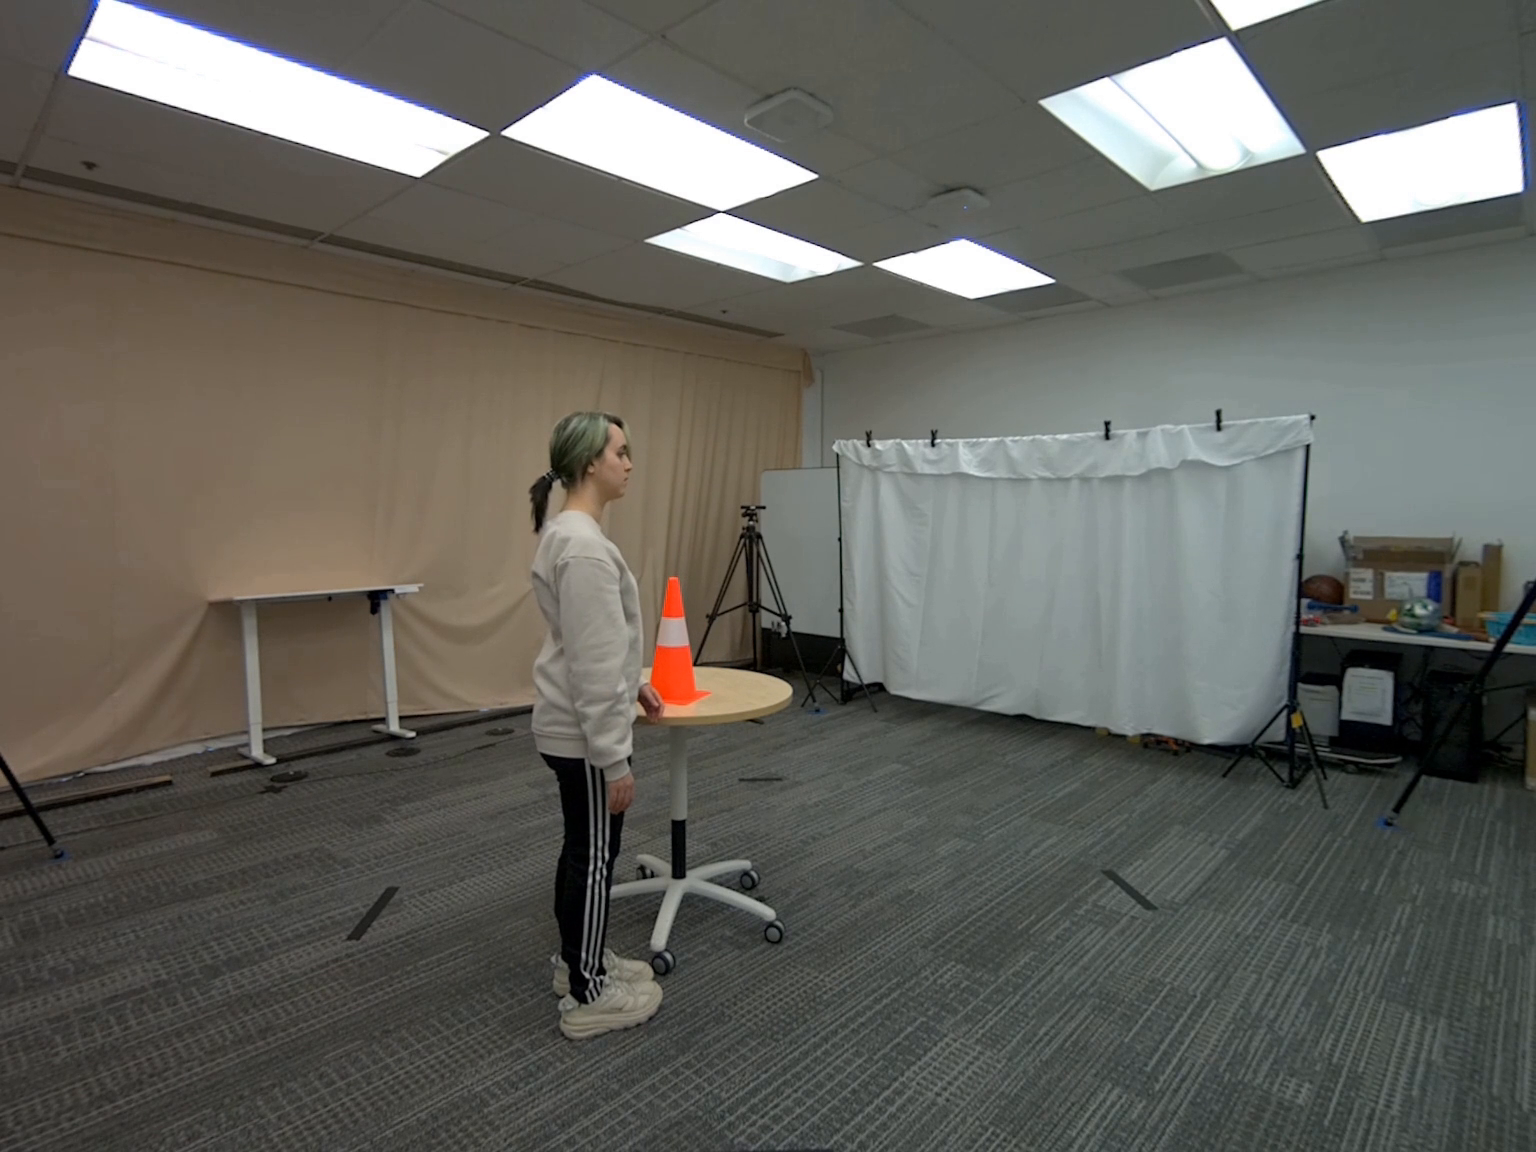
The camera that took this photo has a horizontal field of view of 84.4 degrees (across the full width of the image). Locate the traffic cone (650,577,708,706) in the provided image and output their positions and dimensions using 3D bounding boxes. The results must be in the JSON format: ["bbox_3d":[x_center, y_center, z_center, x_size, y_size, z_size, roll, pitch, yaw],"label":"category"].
[{"bbox_3d":[-0.302,0.198,2.689,0.197,0.382,0.211,-3,5,-35],"label":"traffic cone"}]
